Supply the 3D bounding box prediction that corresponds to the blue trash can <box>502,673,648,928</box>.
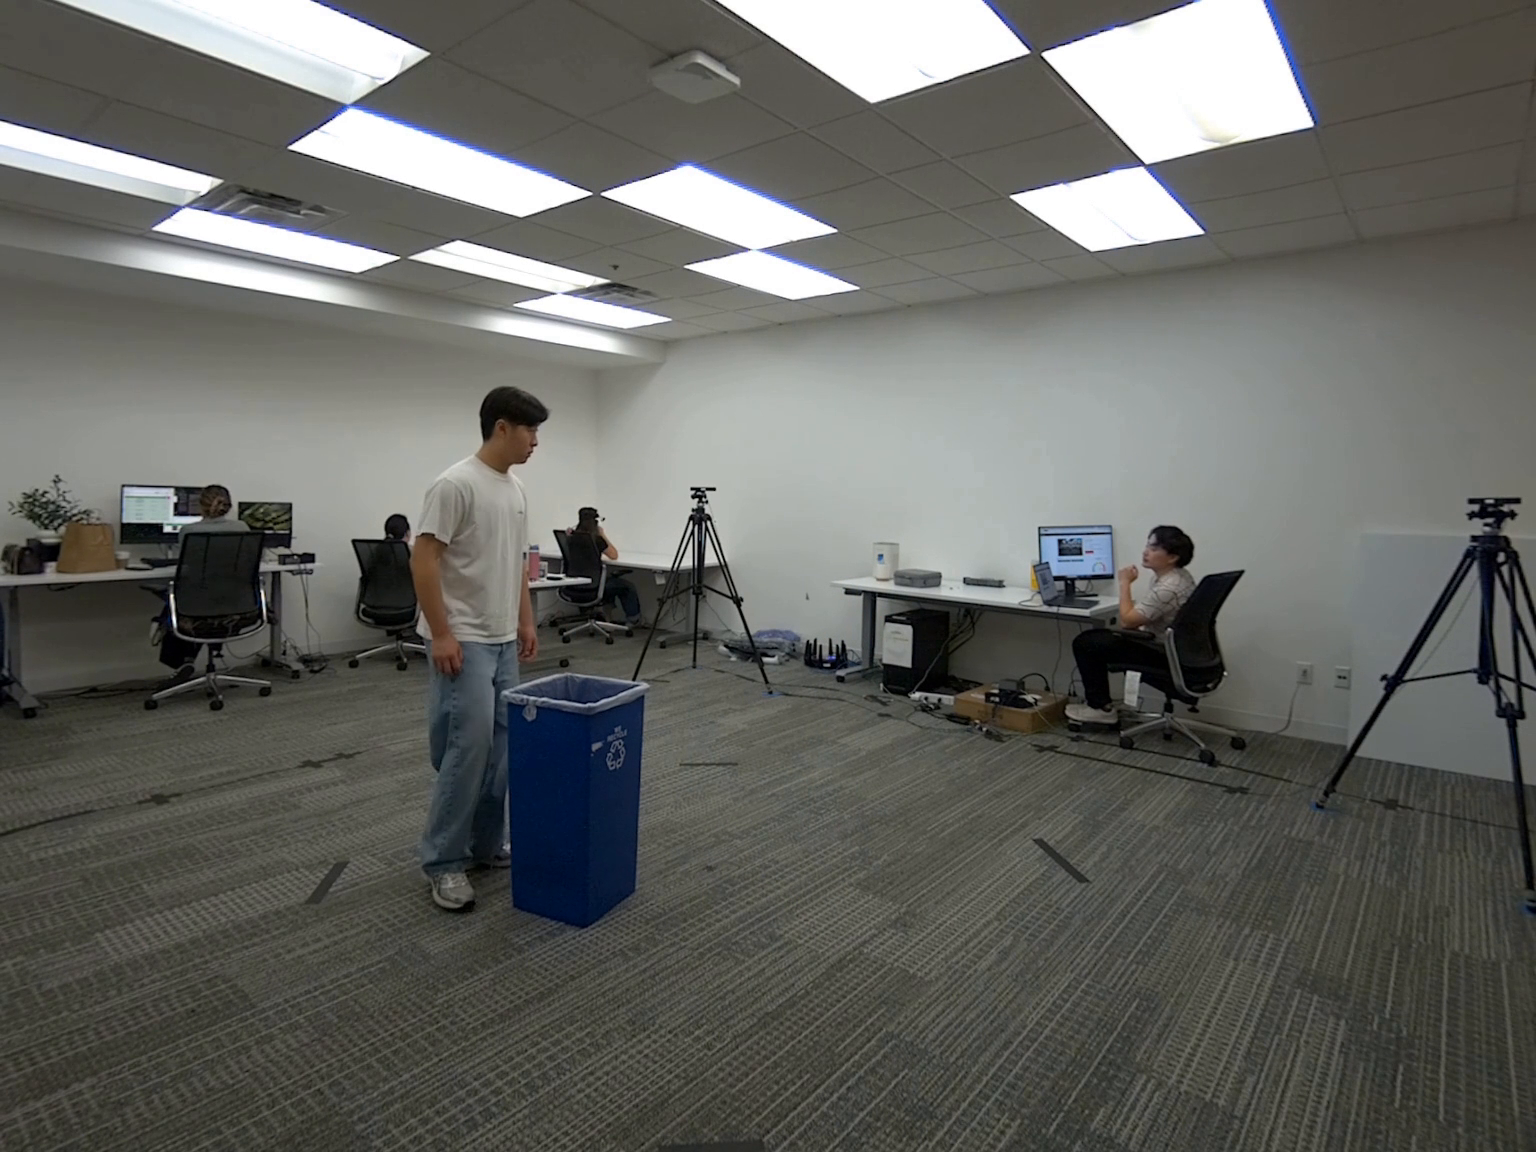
[{"bbox_3d":[-0.657,0.724,2.850,0.388,0.711,0.366,2,4,24],"label":"blue trash can"}]
